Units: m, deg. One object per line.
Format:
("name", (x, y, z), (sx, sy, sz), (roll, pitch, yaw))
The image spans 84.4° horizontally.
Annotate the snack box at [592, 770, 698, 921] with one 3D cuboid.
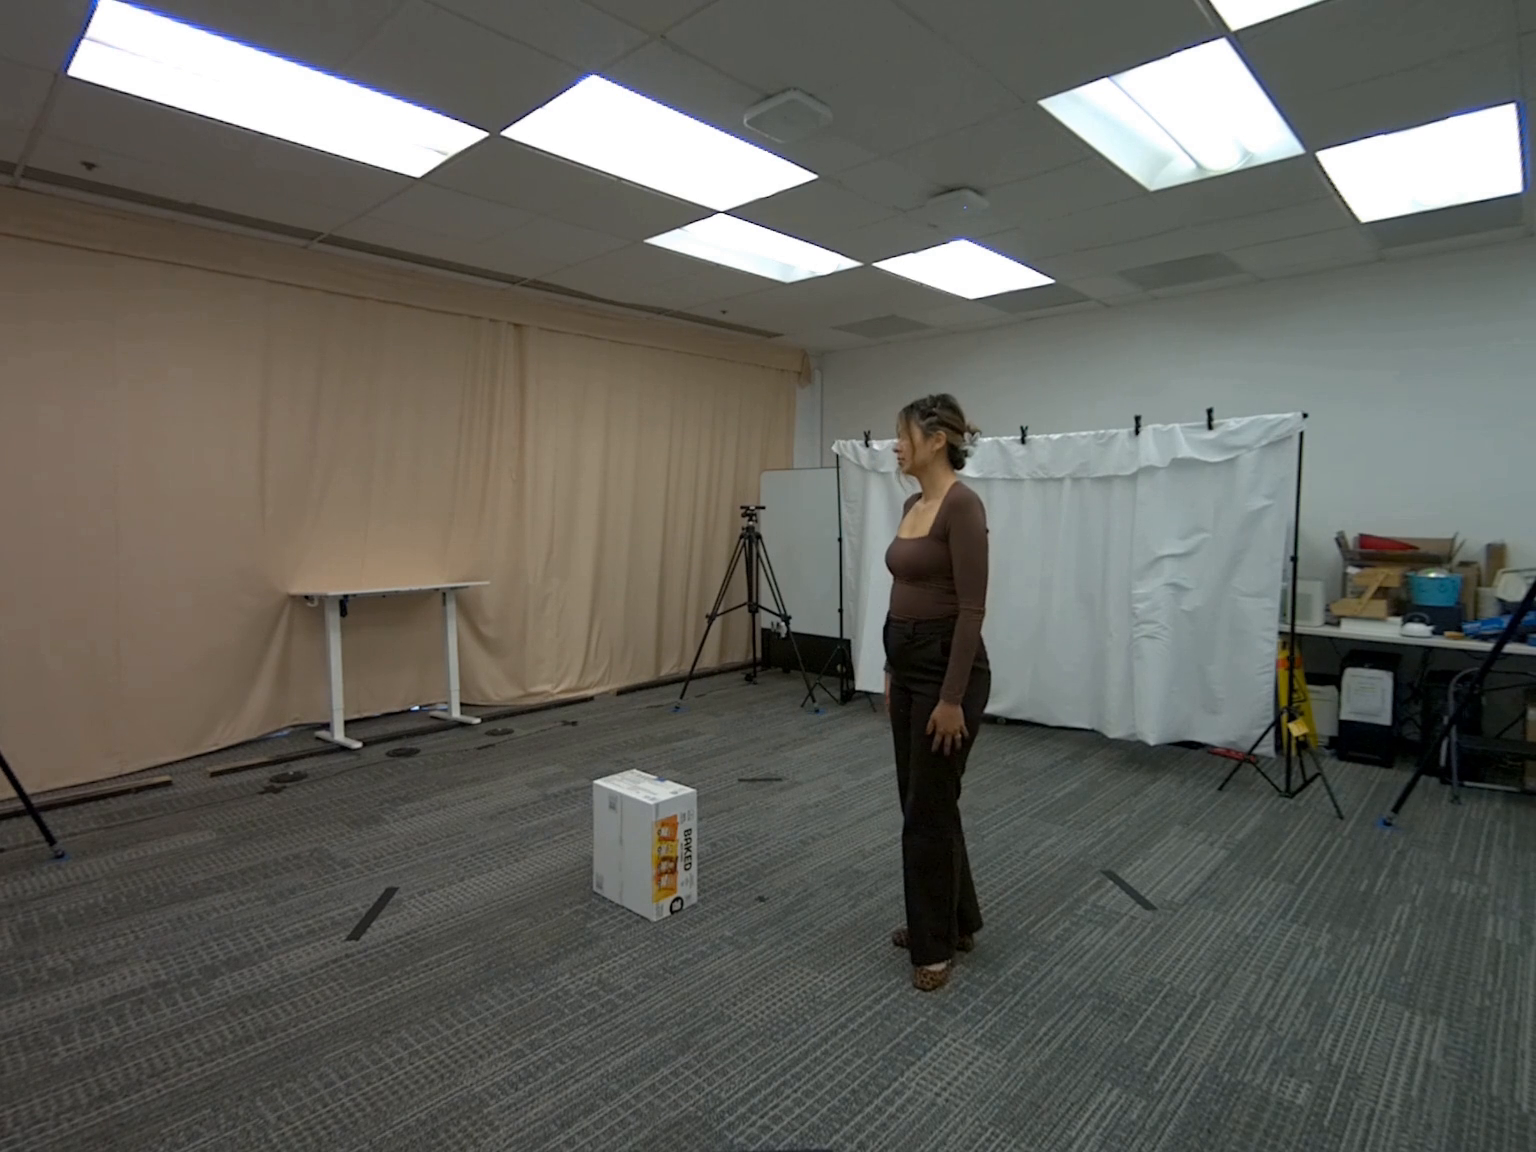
("snack box", (-0.441, 0.944, 2.992), (0.352, 0.404, 0.199), (3, 4, 43))
